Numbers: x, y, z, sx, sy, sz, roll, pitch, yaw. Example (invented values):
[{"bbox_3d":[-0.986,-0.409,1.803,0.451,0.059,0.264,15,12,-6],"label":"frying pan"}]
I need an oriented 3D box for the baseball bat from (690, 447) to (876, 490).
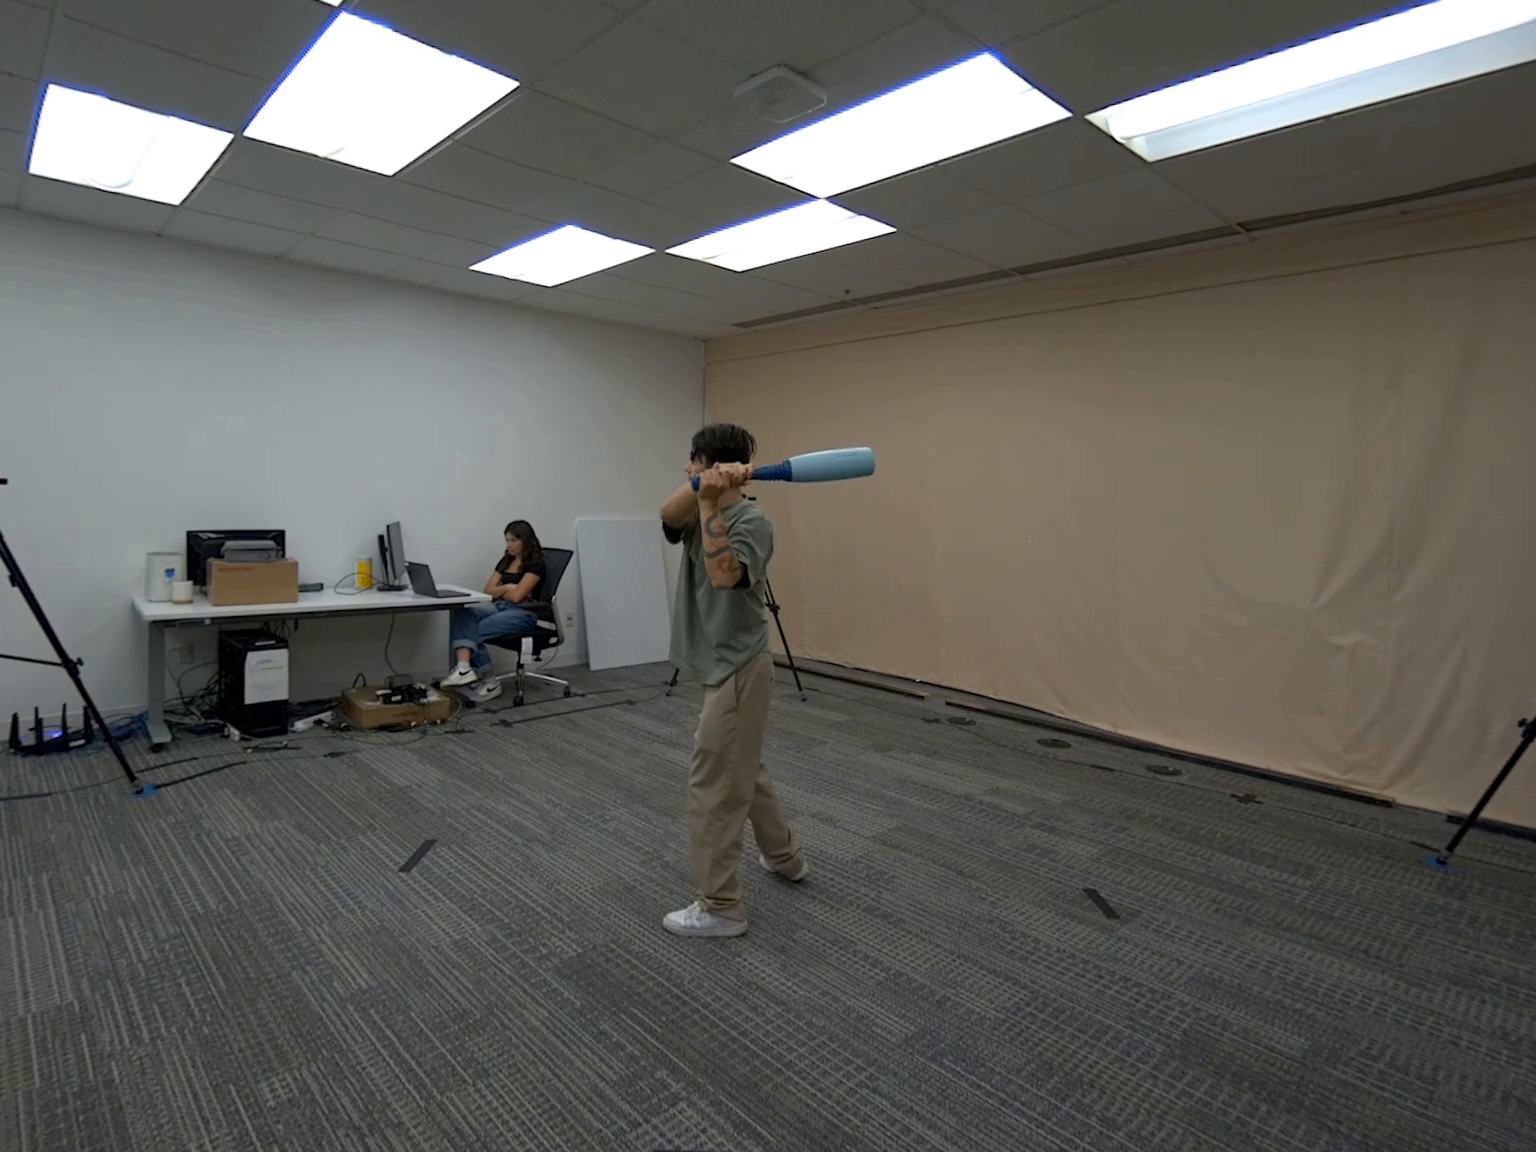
[{"bbox_3d":[0.032,-0.301,2.459,0.542,0.089,0.089,-8,5,-3],"label":"baseball bat"}]
